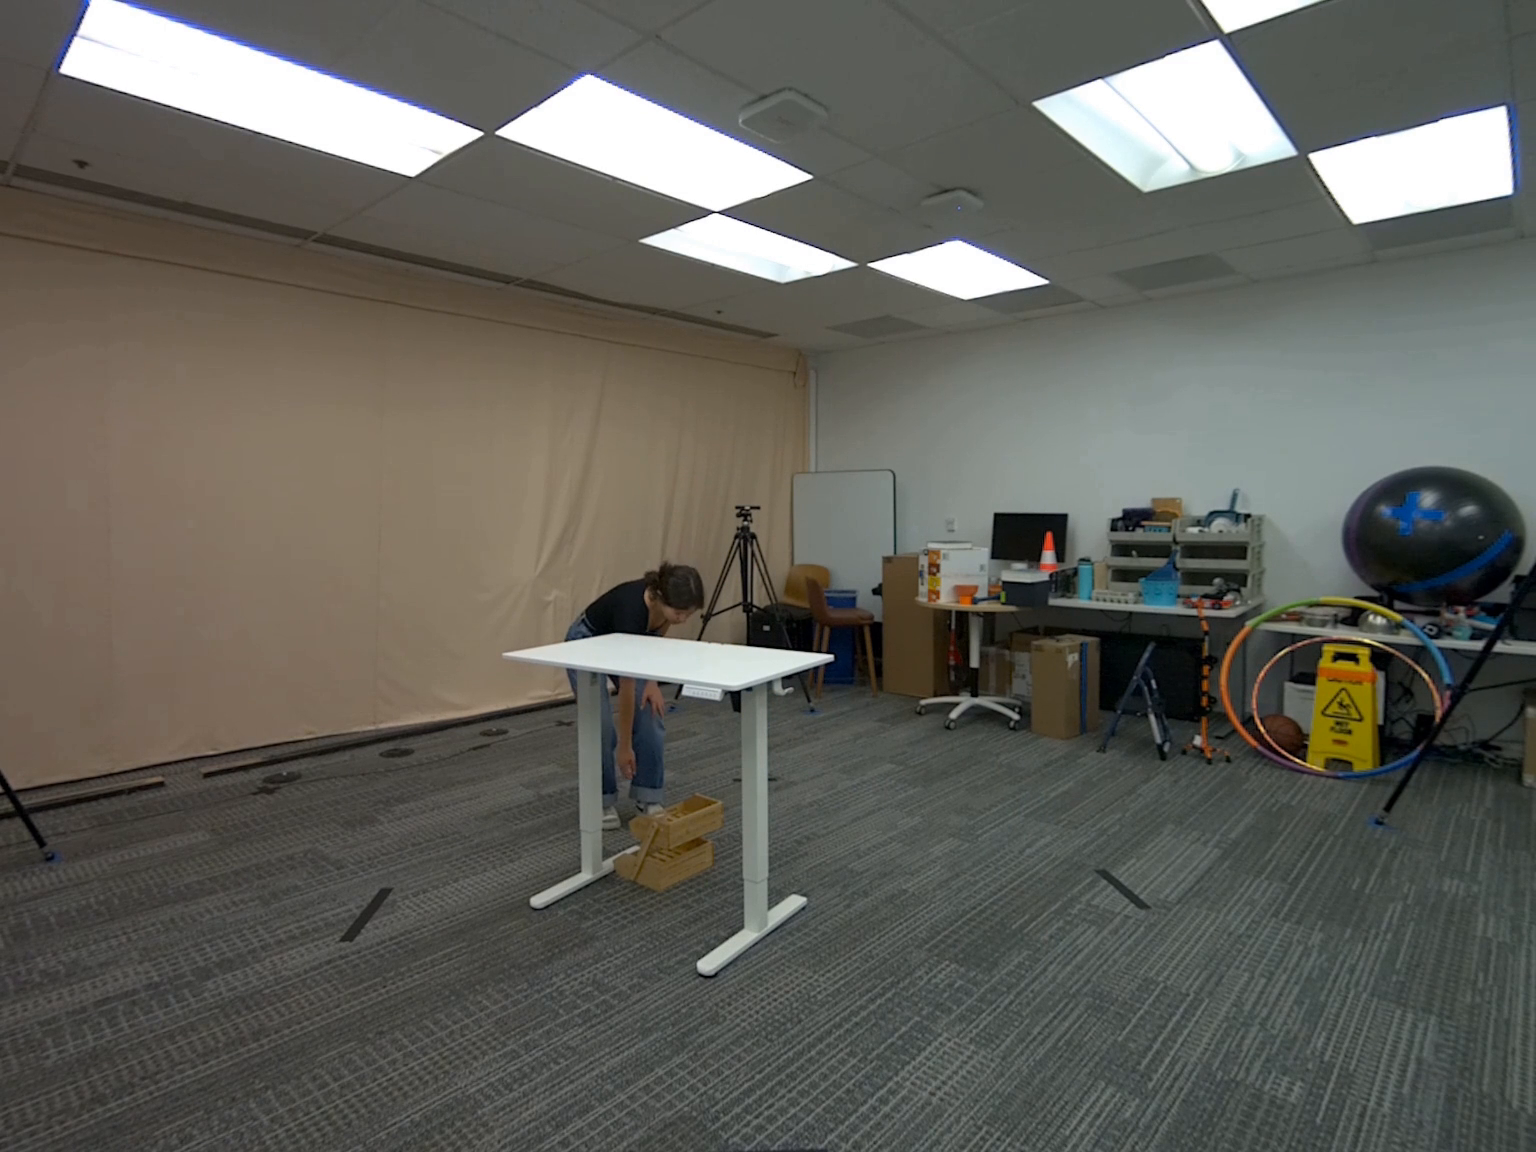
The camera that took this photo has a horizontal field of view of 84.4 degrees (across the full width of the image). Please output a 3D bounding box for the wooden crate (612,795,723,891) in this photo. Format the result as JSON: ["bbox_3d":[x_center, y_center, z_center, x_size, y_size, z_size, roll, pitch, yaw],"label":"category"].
[{"bbox_3d":[-0.383,0.994,3.215,0.312,0.272,0.315,4,6,40],"label":"wooden crate"}]
